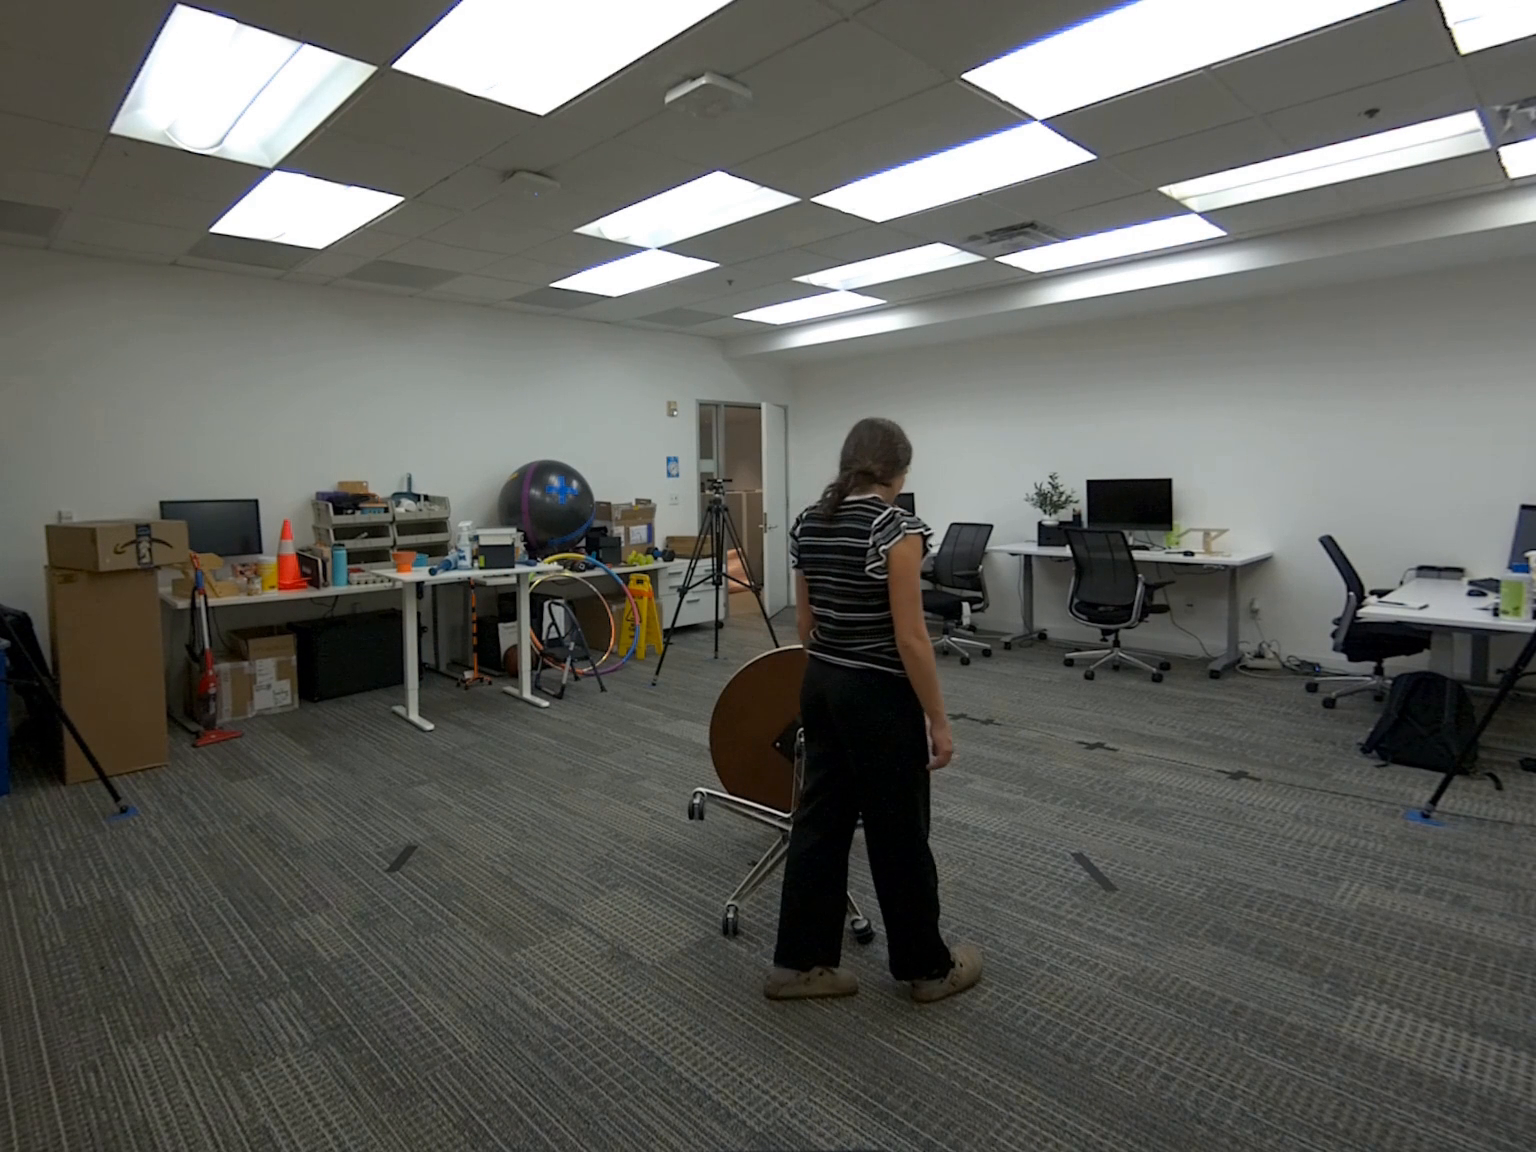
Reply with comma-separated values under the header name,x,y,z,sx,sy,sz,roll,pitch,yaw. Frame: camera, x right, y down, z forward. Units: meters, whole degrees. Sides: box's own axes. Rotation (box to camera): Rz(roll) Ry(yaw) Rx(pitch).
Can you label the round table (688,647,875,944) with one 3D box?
name,x,y,z,sx,sy,sz,roll,pitch,yaw
round table,0.130,0.723,2.916,0.791,0.777,0.789,0,11,7
